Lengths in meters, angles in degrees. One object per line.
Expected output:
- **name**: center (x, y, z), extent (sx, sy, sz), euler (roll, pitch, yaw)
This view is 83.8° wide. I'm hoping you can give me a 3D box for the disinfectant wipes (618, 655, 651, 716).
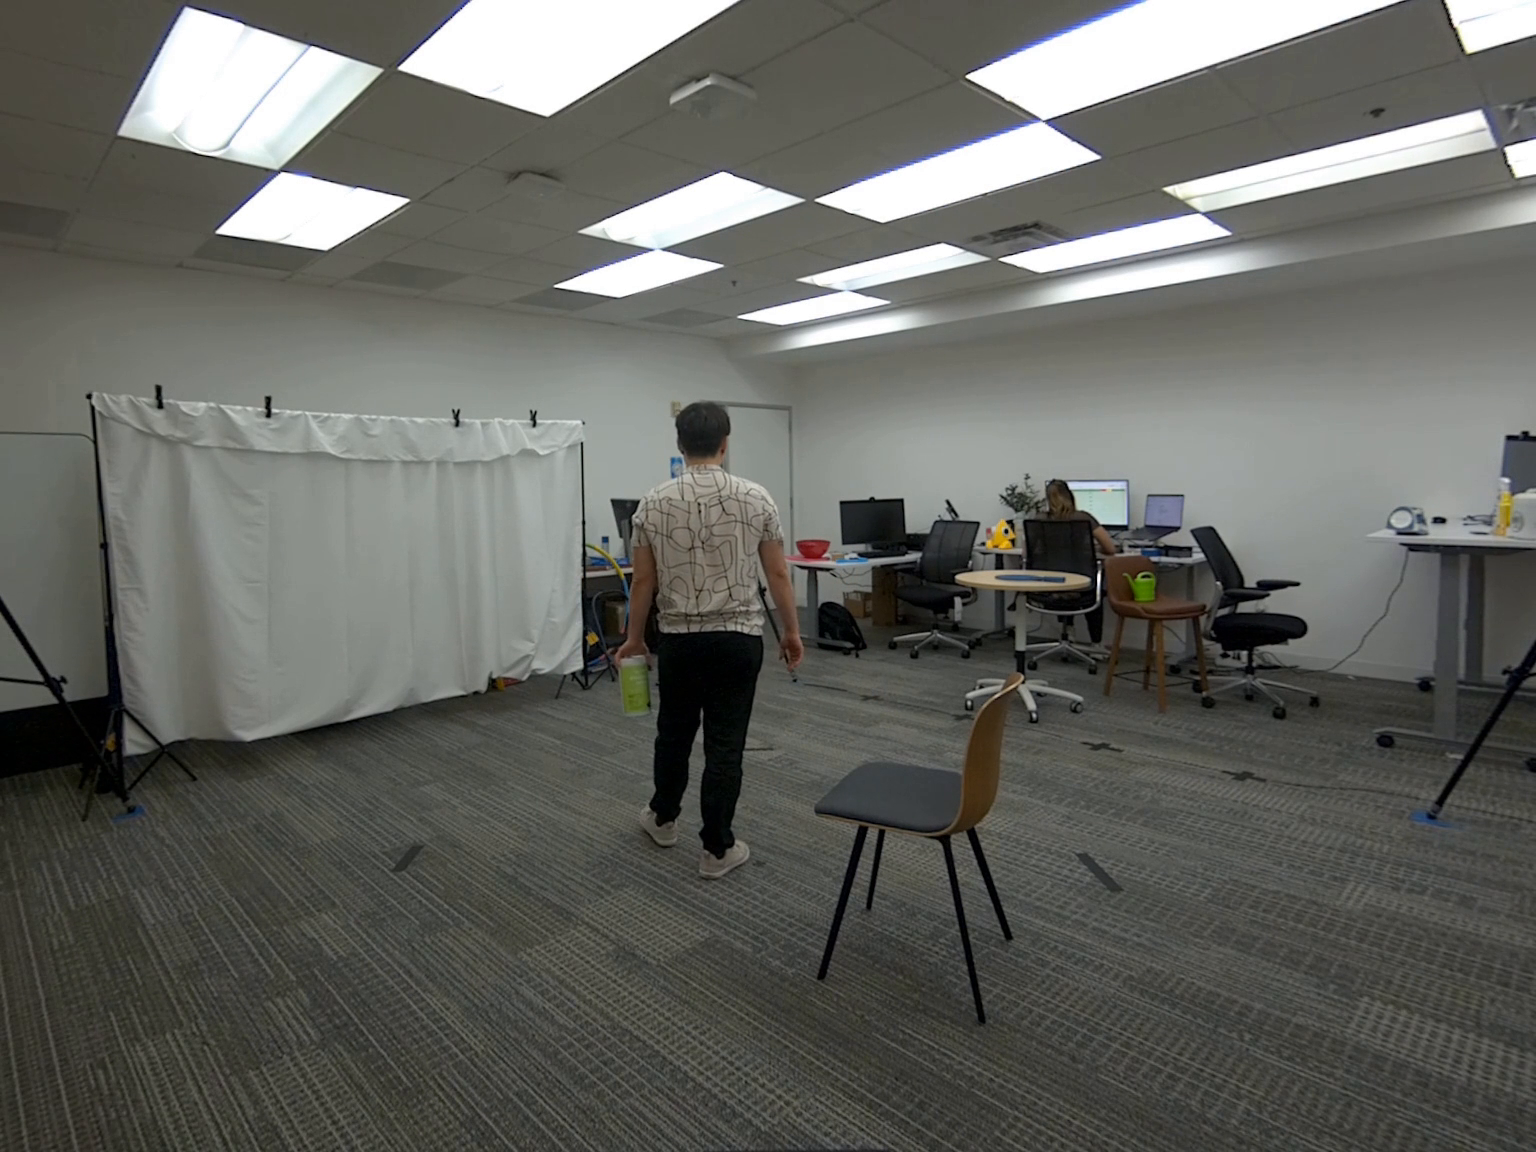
- **disinfectant wipes**: center (-0.495, 0.409, 3.156), extent (0.118, 0.217, 0.118), euler (-5, 1, -2)
